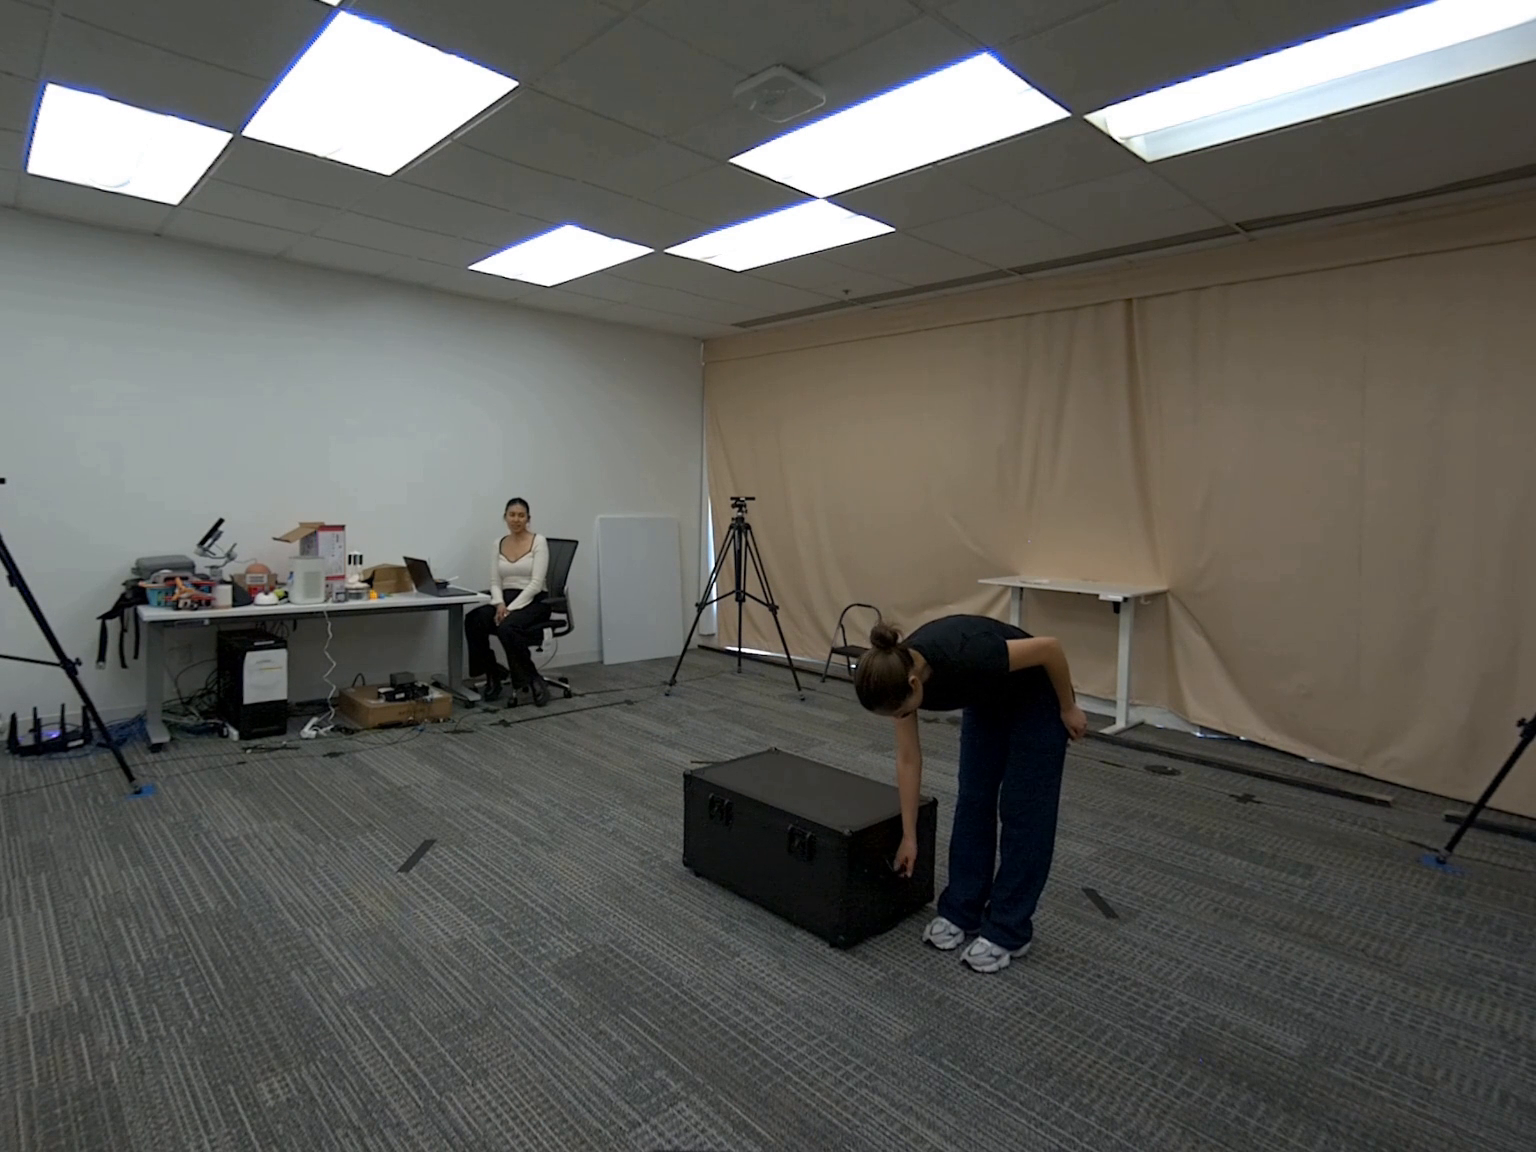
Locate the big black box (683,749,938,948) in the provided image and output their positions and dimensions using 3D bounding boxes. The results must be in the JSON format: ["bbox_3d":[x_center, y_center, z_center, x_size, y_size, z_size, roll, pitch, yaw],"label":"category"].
[{"bbox_3d":[0.099,0.913,3.019,0.509,0.395,0.883,-3,6,-45],"label":"big black box"}]
